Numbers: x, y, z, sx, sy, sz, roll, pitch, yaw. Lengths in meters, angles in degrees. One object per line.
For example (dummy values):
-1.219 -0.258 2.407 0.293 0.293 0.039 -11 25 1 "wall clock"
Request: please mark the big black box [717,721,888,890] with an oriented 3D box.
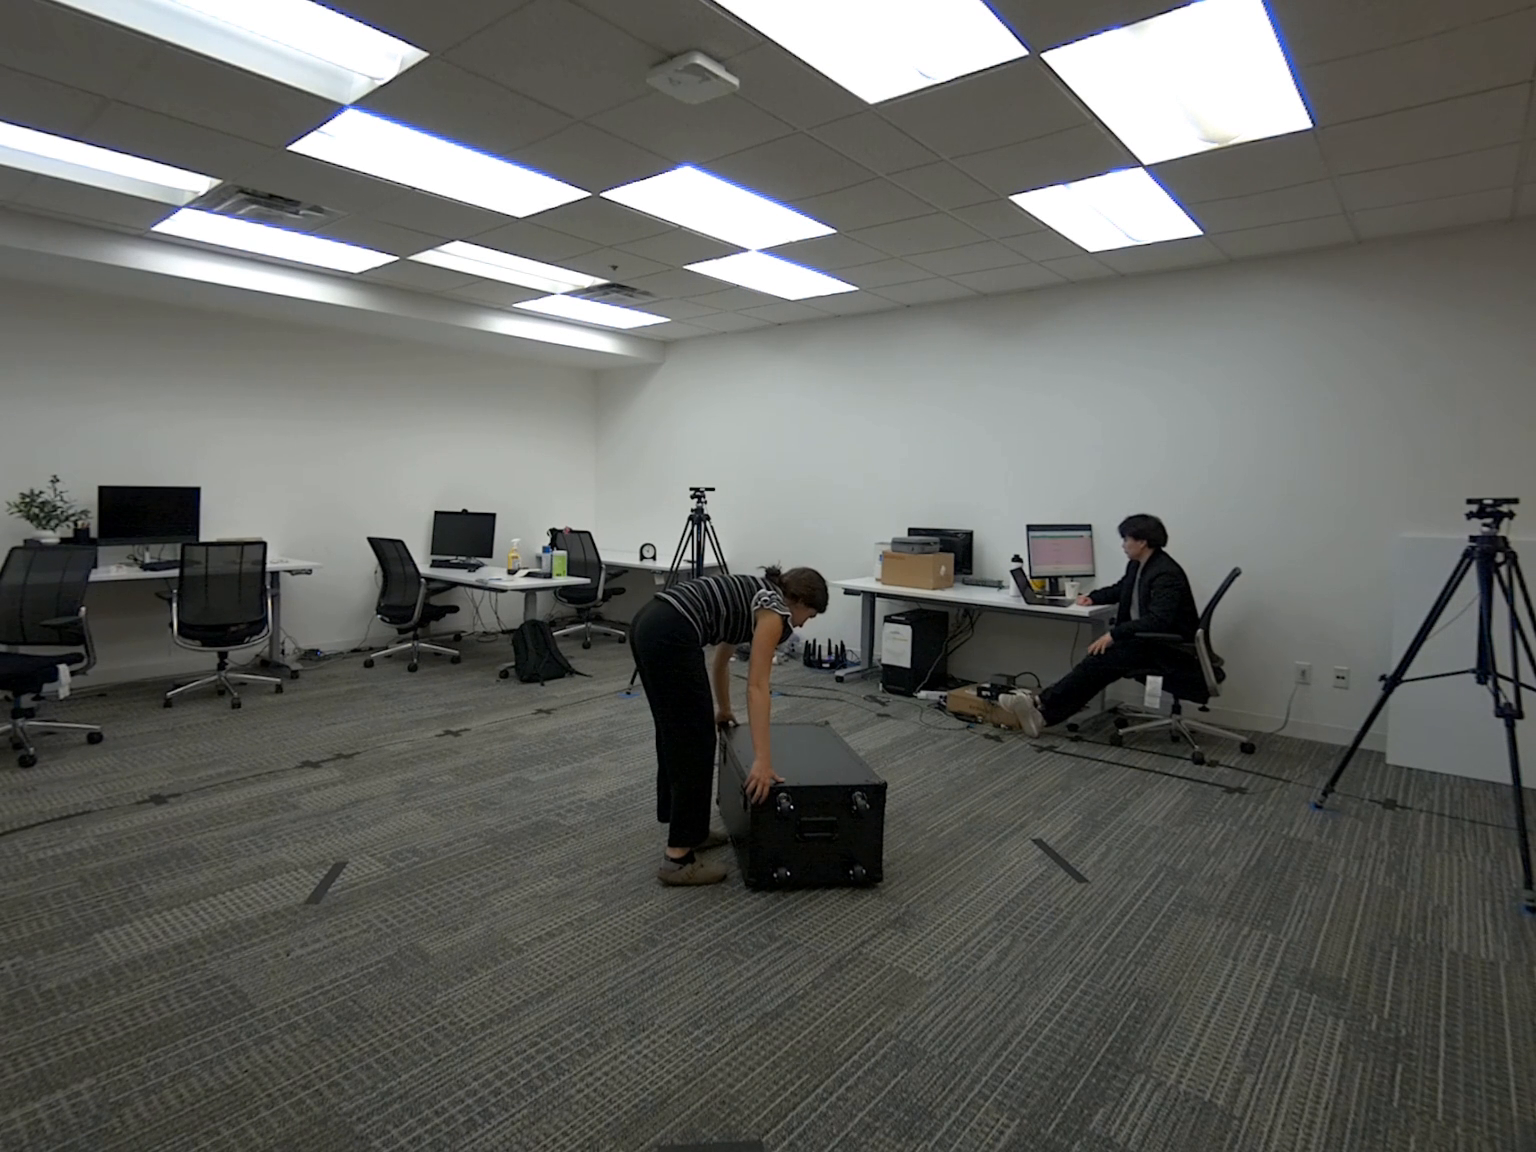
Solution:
0.093 0.862 3.288 0.516 0.395 0.874 0 5 -11 "big black box"
